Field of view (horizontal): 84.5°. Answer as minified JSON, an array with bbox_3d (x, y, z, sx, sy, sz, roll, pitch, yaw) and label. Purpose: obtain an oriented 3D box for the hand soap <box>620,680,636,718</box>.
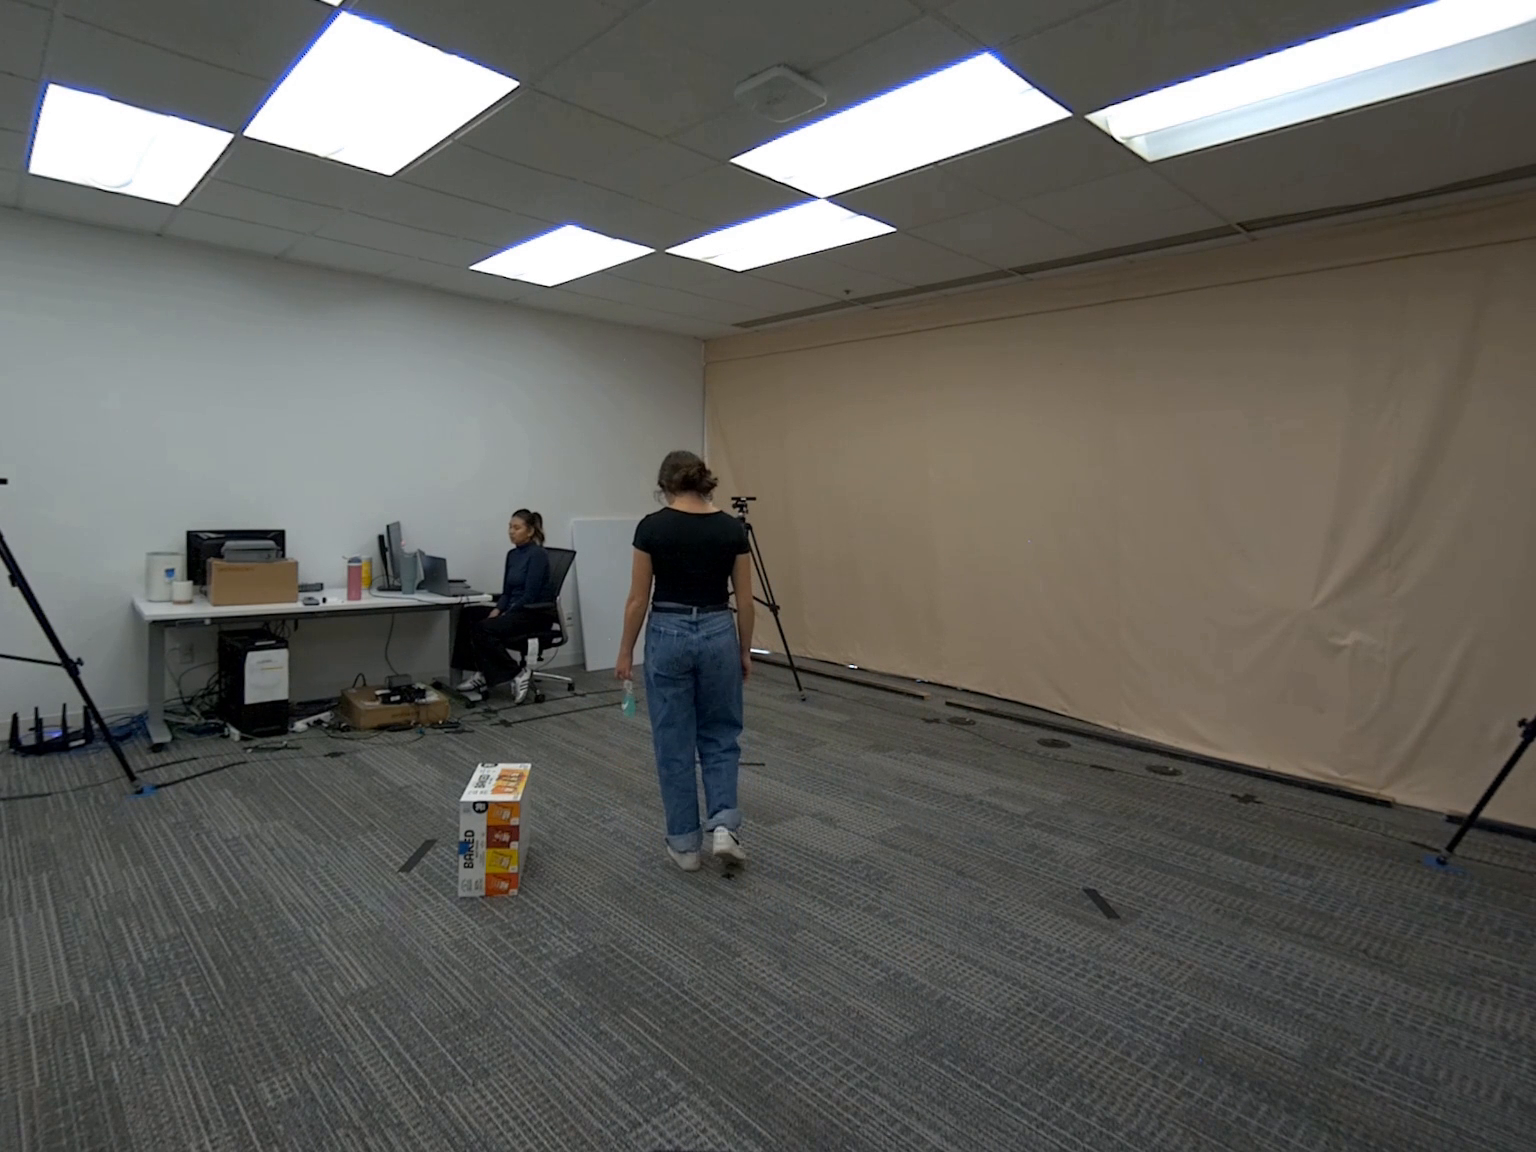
[{"bbox_3d":[-0.552,0.462,3.292,0.042,0.168,0.086,-1,3,-36],"label":"hand soap"}]
